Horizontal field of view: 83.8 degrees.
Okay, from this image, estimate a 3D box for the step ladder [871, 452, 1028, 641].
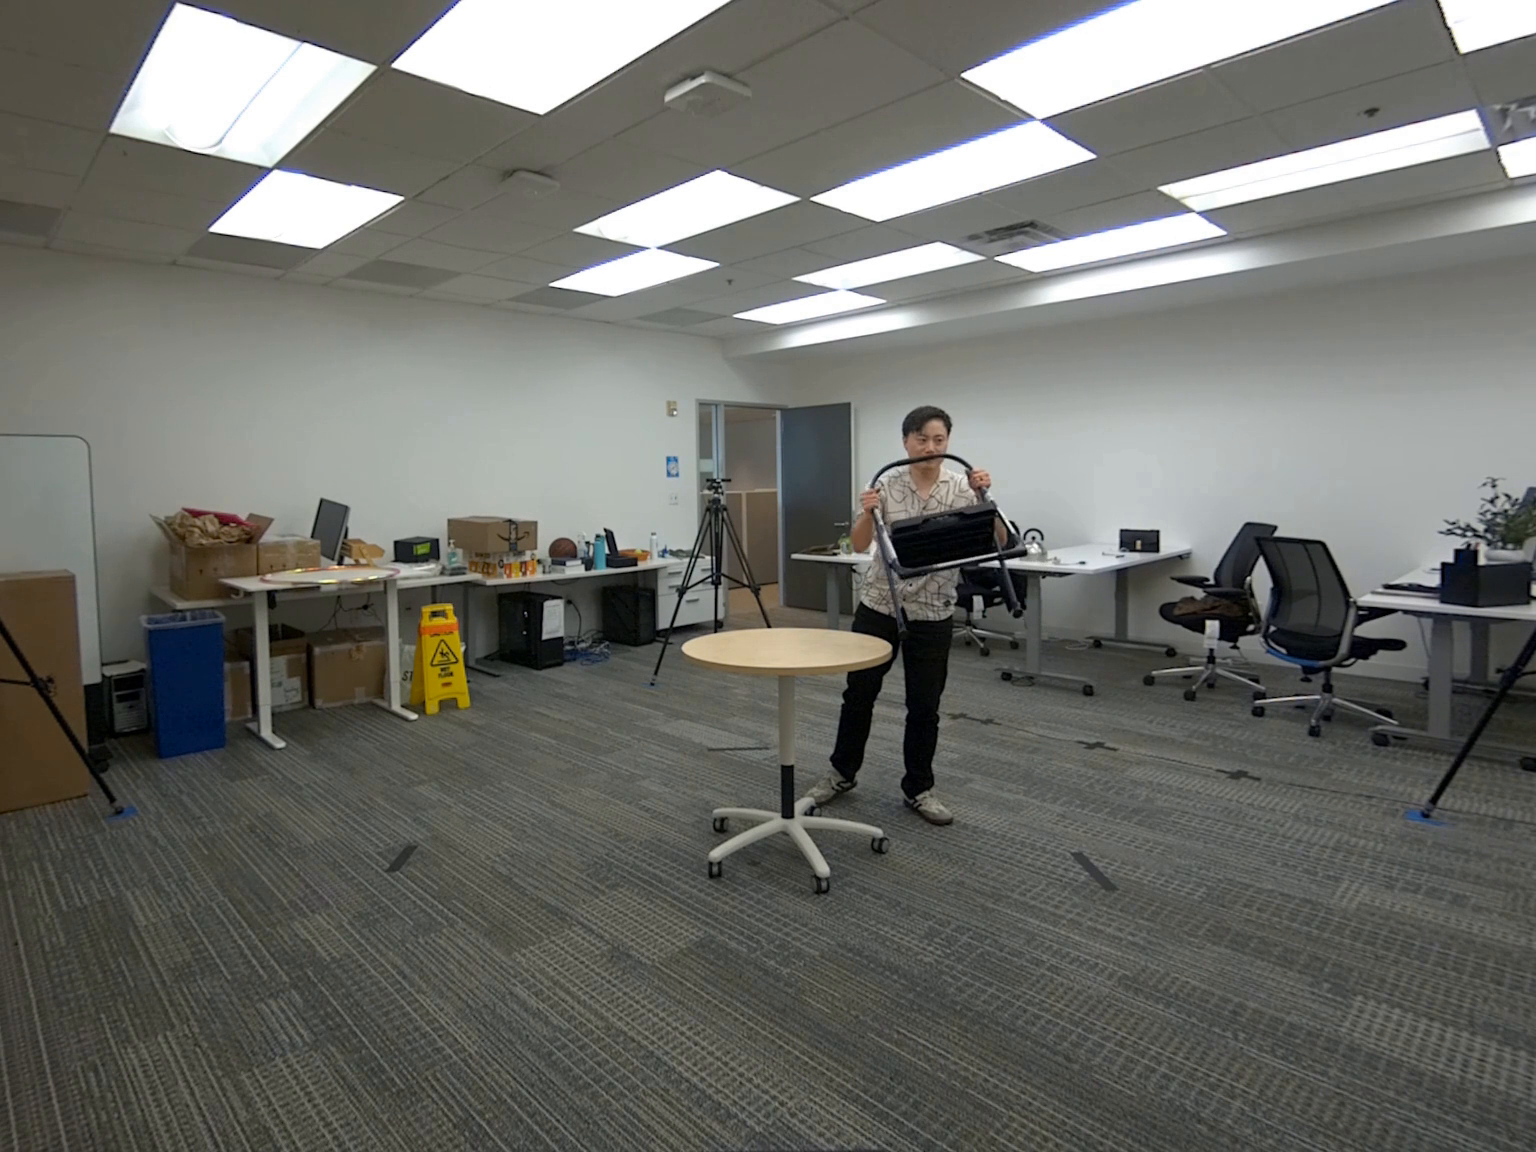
[{"bbox_3d":[0.592,-0.158,3.019,0.431,0.625,0.338,-11,-41,0],"label":"step ladder"}]
